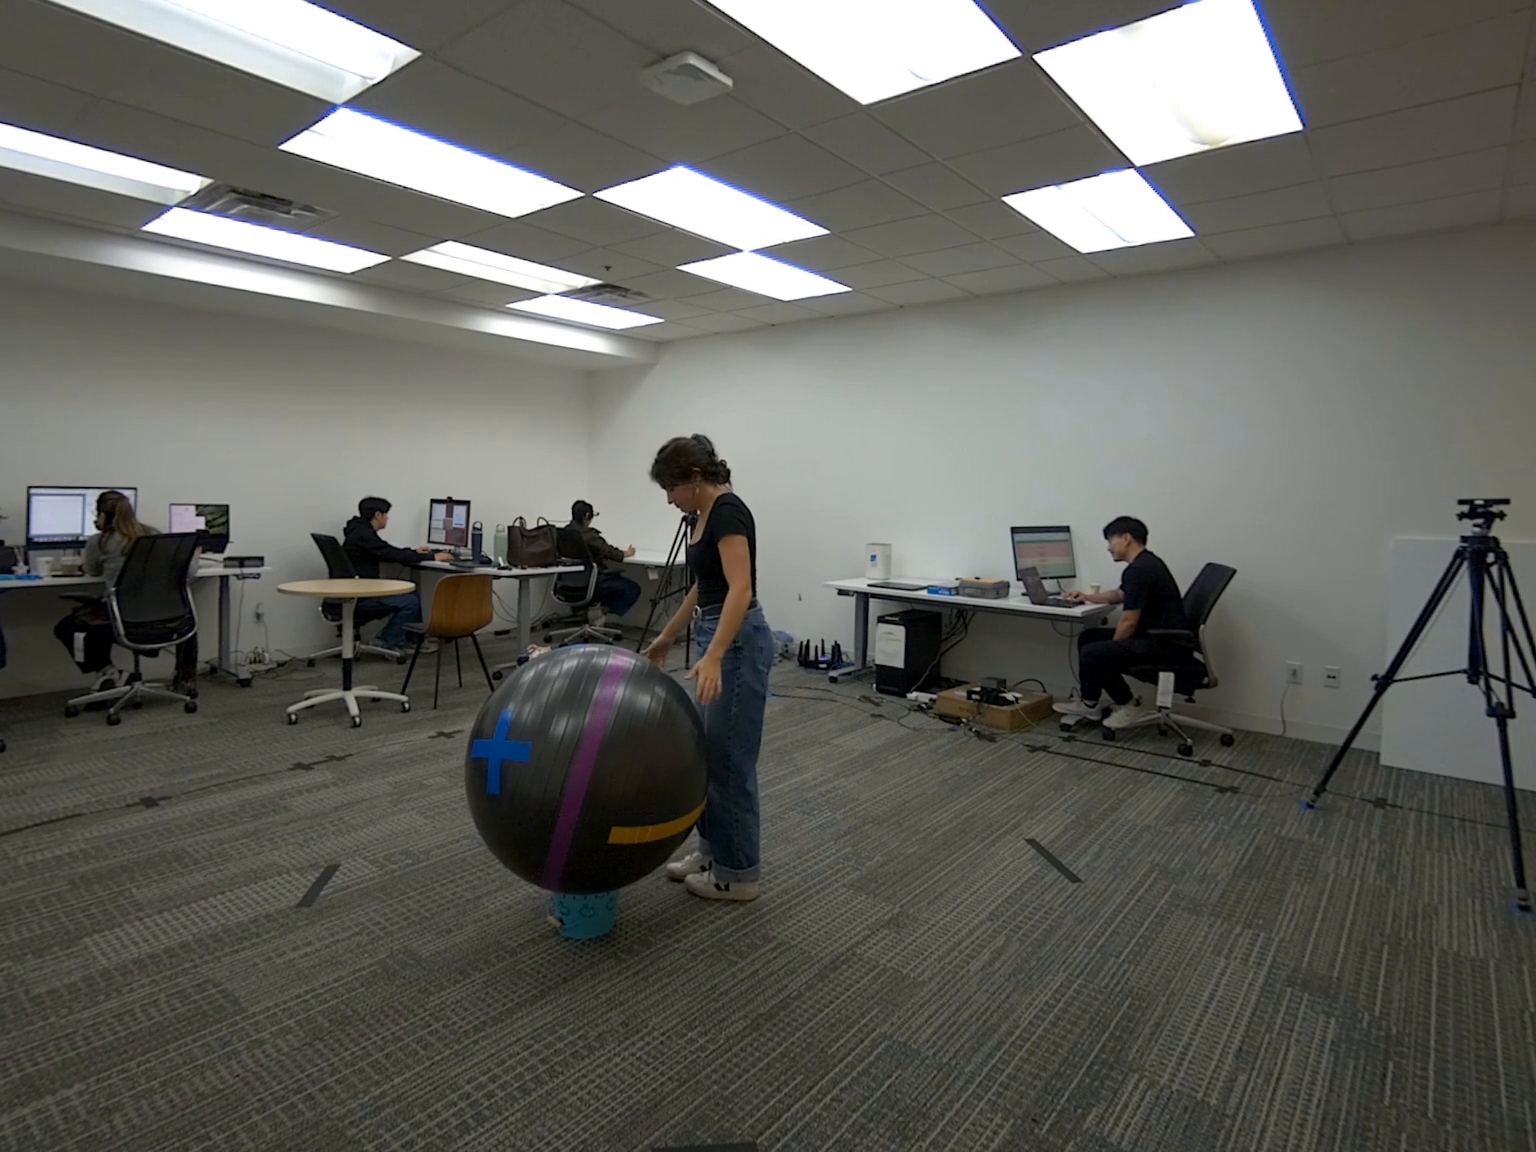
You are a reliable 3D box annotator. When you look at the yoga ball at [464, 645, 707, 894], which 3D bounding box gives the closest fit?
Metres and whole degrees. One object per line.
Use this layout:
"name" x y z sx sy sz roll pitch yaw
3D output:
"yoga ball" -0.574 0.595 2.676 0.757 0.755 0.762 1 4 -2
